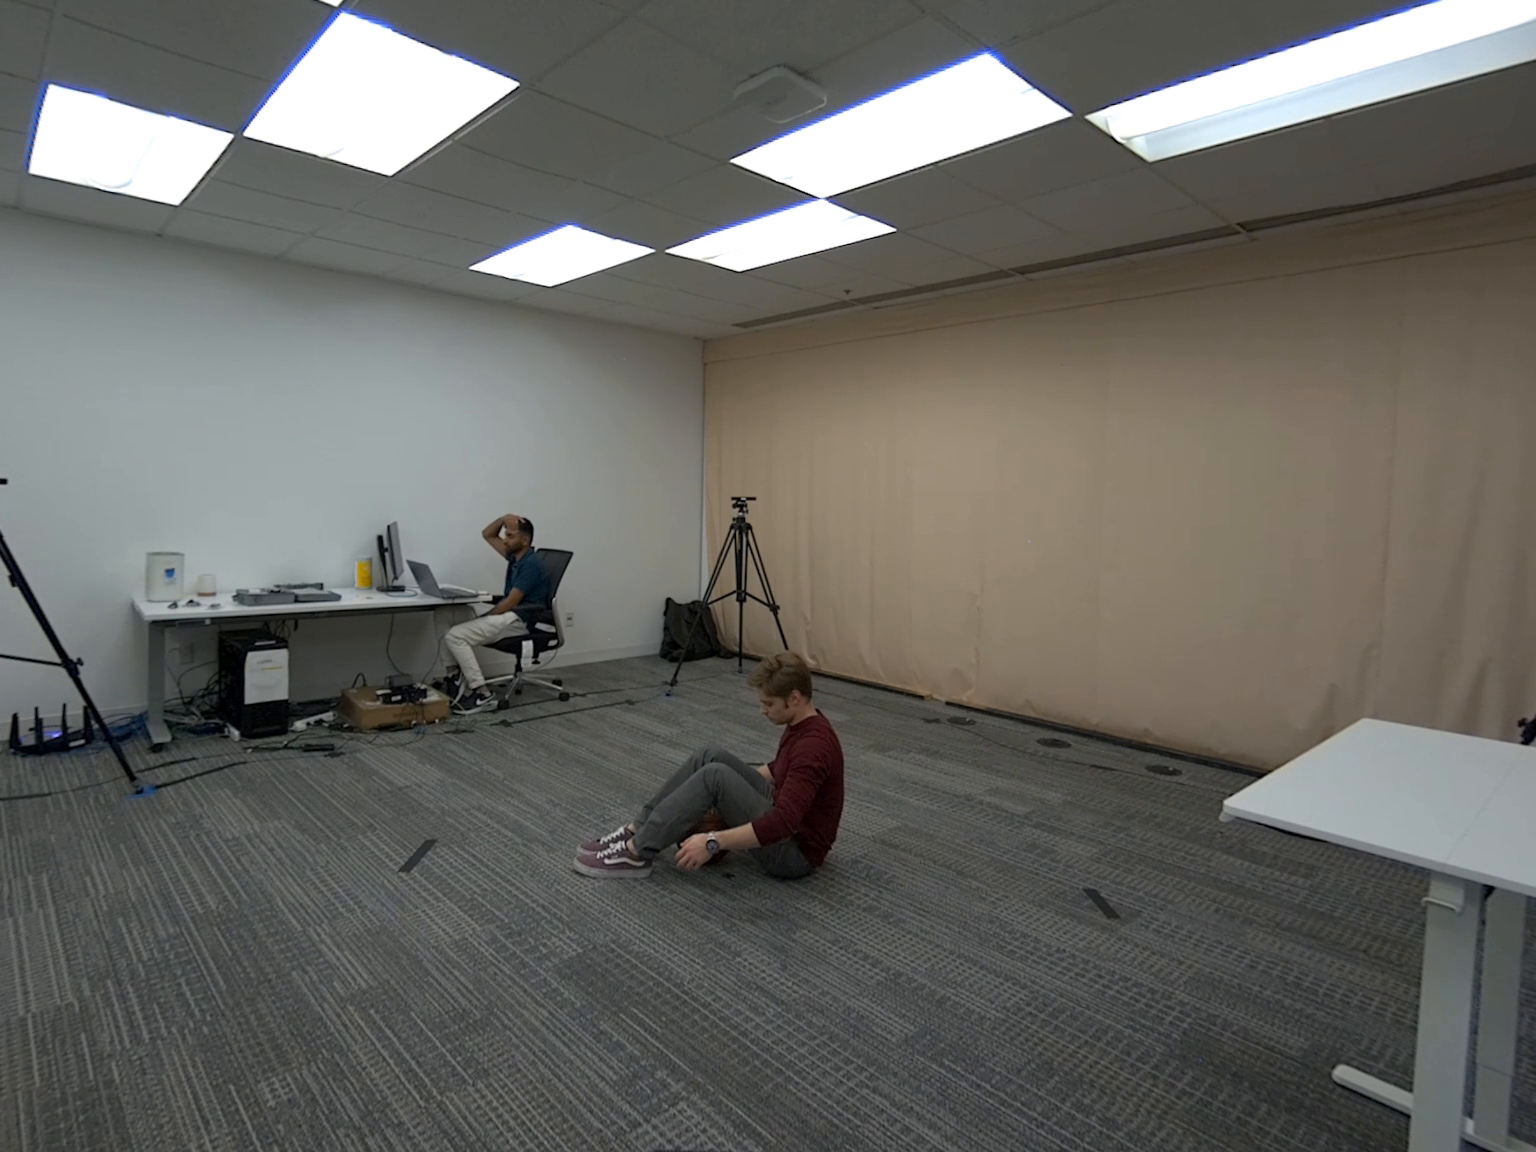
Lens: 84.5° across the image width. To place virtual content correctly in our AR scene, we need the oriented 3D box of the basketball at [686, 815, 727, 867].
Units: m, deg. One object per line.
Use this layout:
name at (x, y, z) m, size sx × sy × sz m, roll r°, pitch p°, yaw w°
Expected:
basketball at (-0.240, 0.977, 3.209) m, size 0.236 × 0.235 × 0.237 m, roll 1°, pitch 4°, yaw -1°
